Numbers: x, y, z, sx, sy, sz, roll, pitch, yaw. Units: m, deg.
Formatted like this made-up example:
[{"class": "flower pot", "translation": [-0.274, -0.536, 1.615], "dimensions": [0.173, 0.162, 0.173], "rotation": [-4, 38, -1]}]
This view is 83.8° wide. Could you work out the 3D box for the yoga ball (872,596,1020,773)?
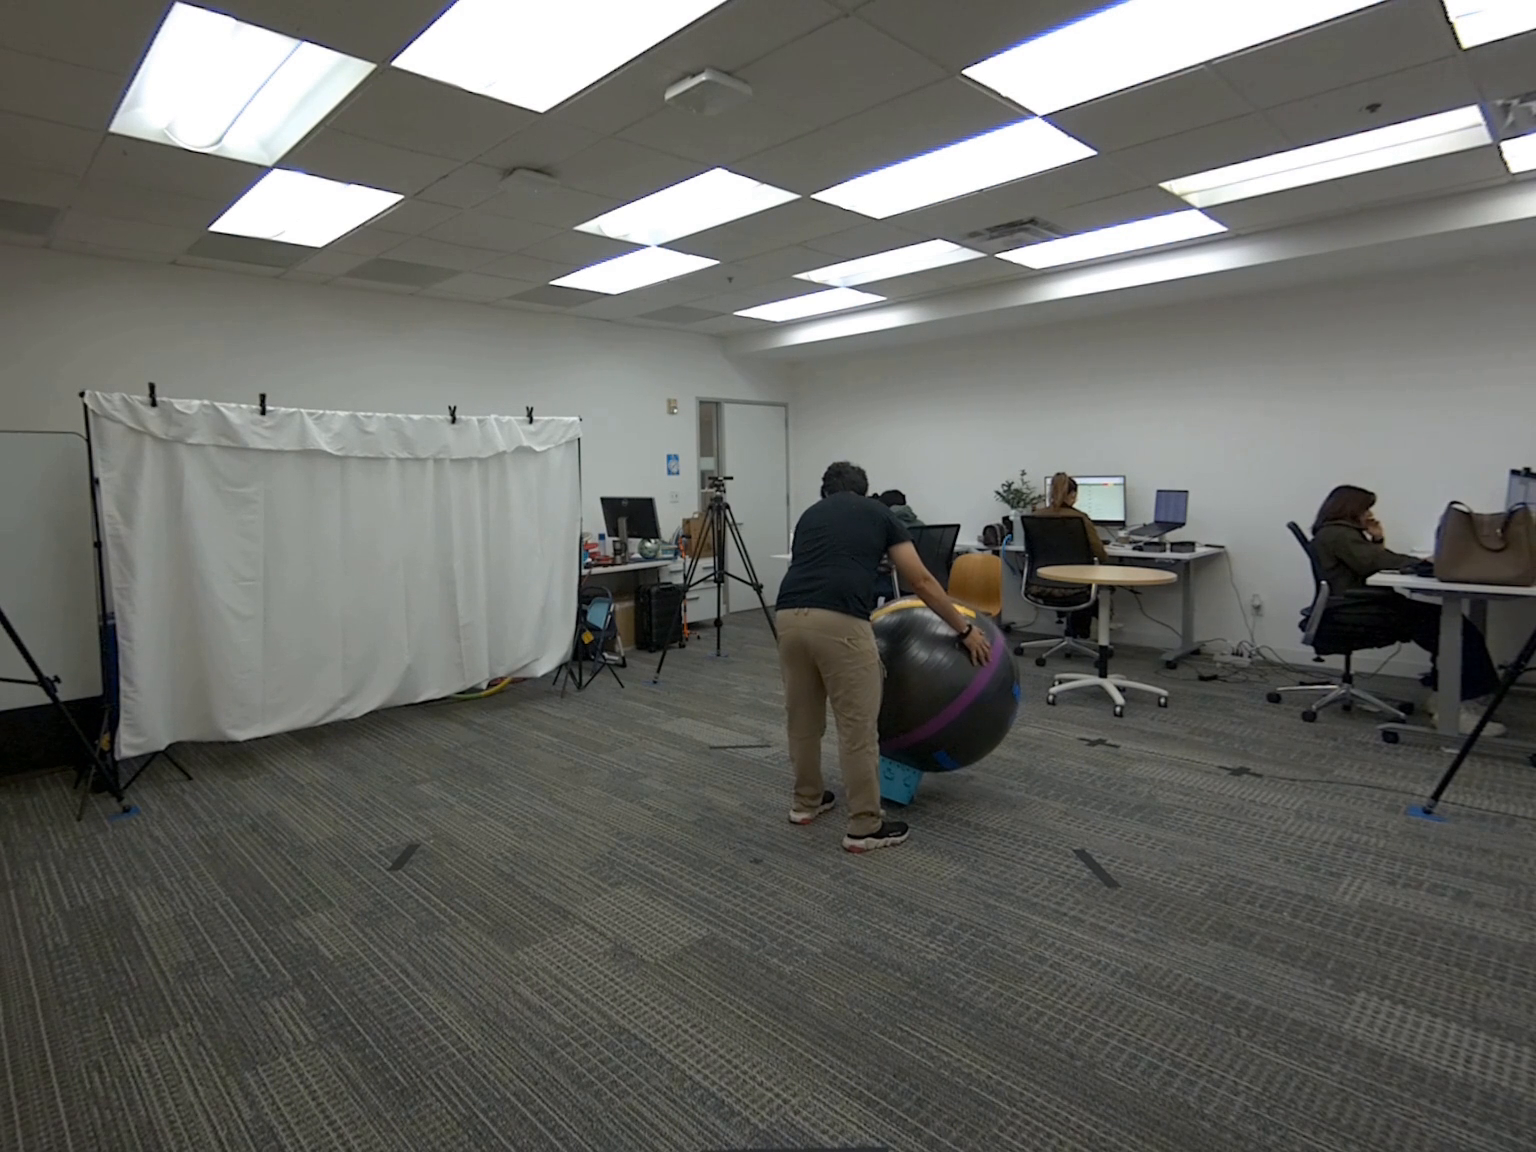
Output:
[{"class": "yoga ball", "translation": [0.700, 0.461, 3.700], "dimensions": [0.757, 0.755, 0.762], "rotation": [-1, 5, -2]}]
